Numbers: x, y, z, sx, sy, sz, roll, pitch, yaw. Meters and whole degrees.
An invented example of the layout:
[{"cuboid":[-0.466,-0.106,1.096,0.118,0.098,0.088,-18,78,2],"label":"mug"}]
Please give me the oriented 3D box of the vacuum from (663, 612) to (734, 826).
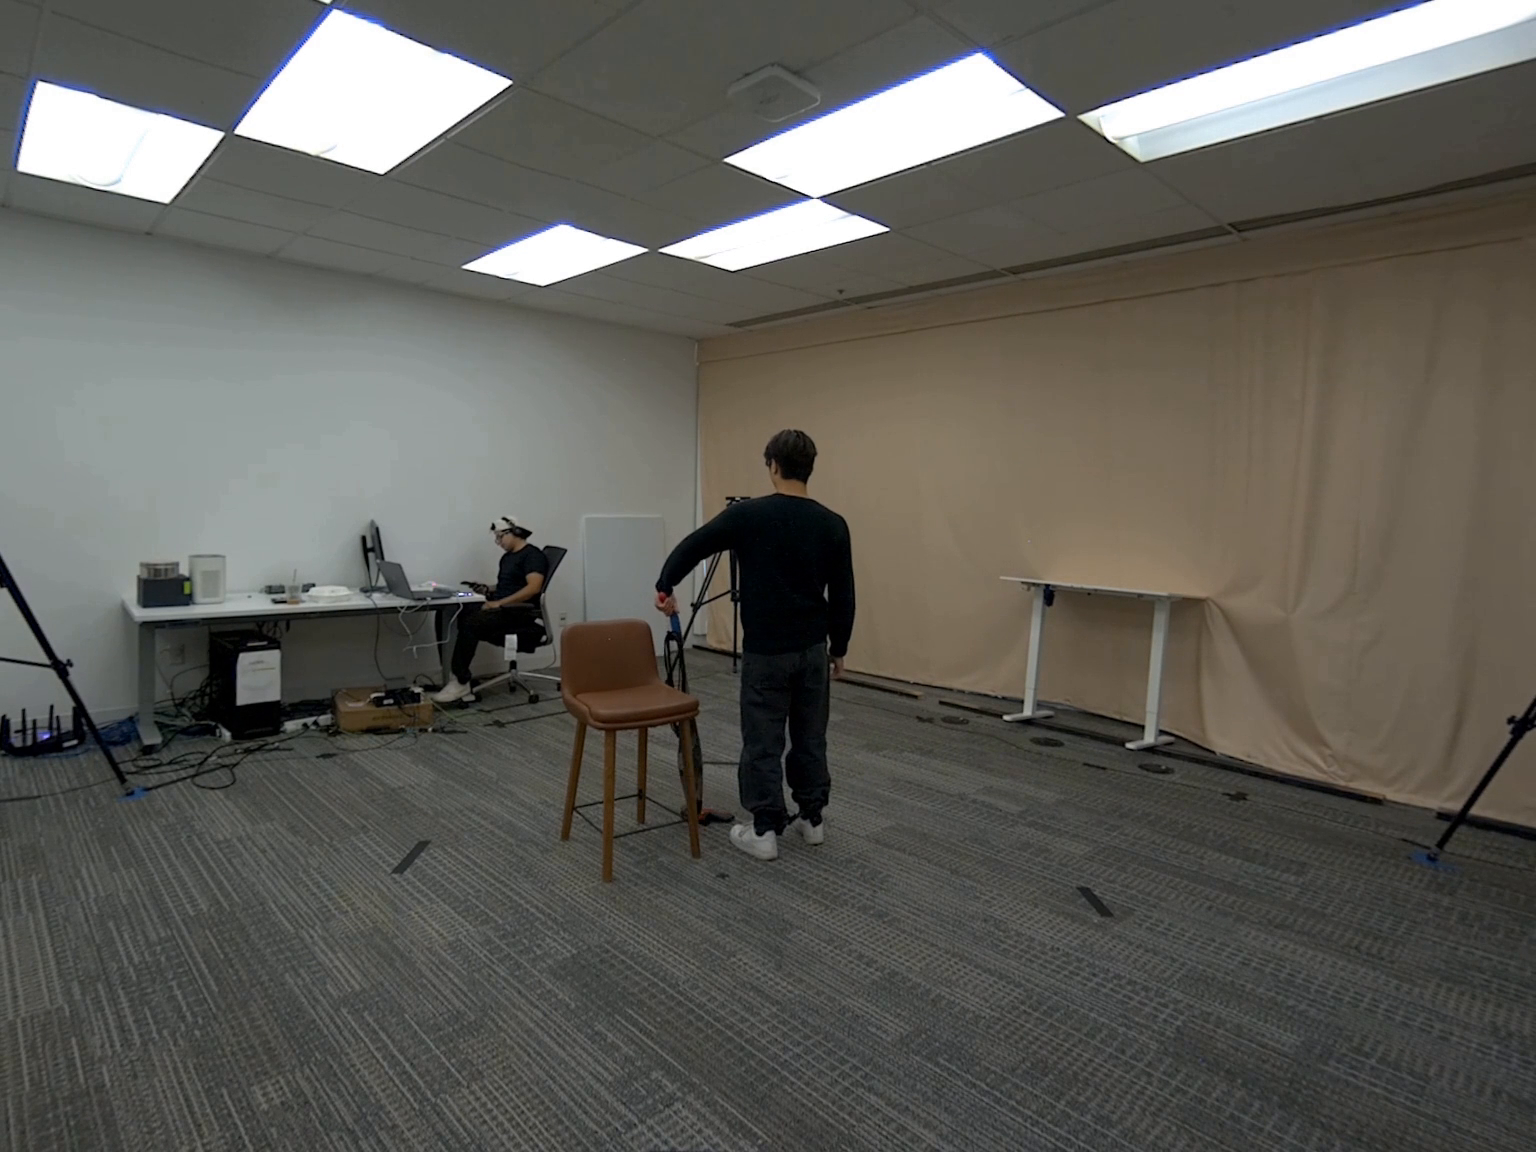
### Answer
[{"cuboid":[-0.352,0.567,3.535,0.258,1.036,0.142,3,18,33],"label":"vacuum"}]
